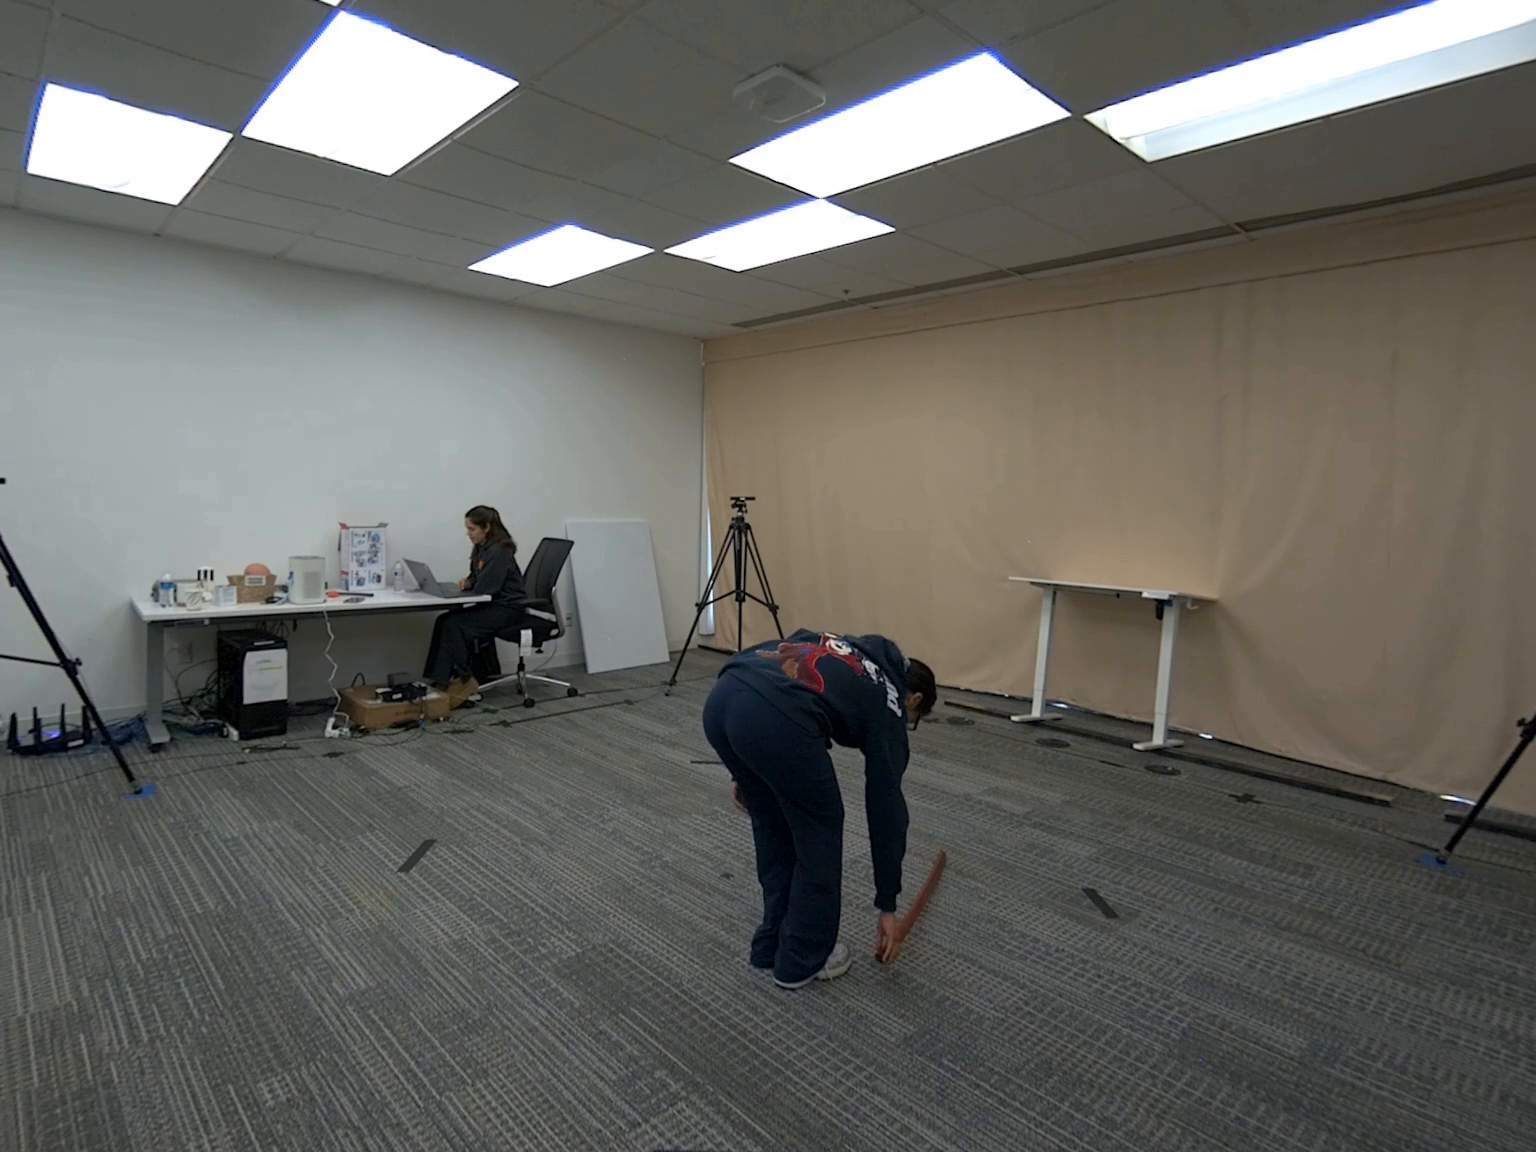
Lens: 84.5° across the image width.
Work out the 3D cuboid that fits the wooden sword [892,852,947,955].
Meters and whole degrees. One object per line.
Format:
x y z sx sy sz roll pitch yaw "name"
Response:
0.499 1.092 2.879 0.052 0.024 1.006 18 7 21 "wooden sword"
